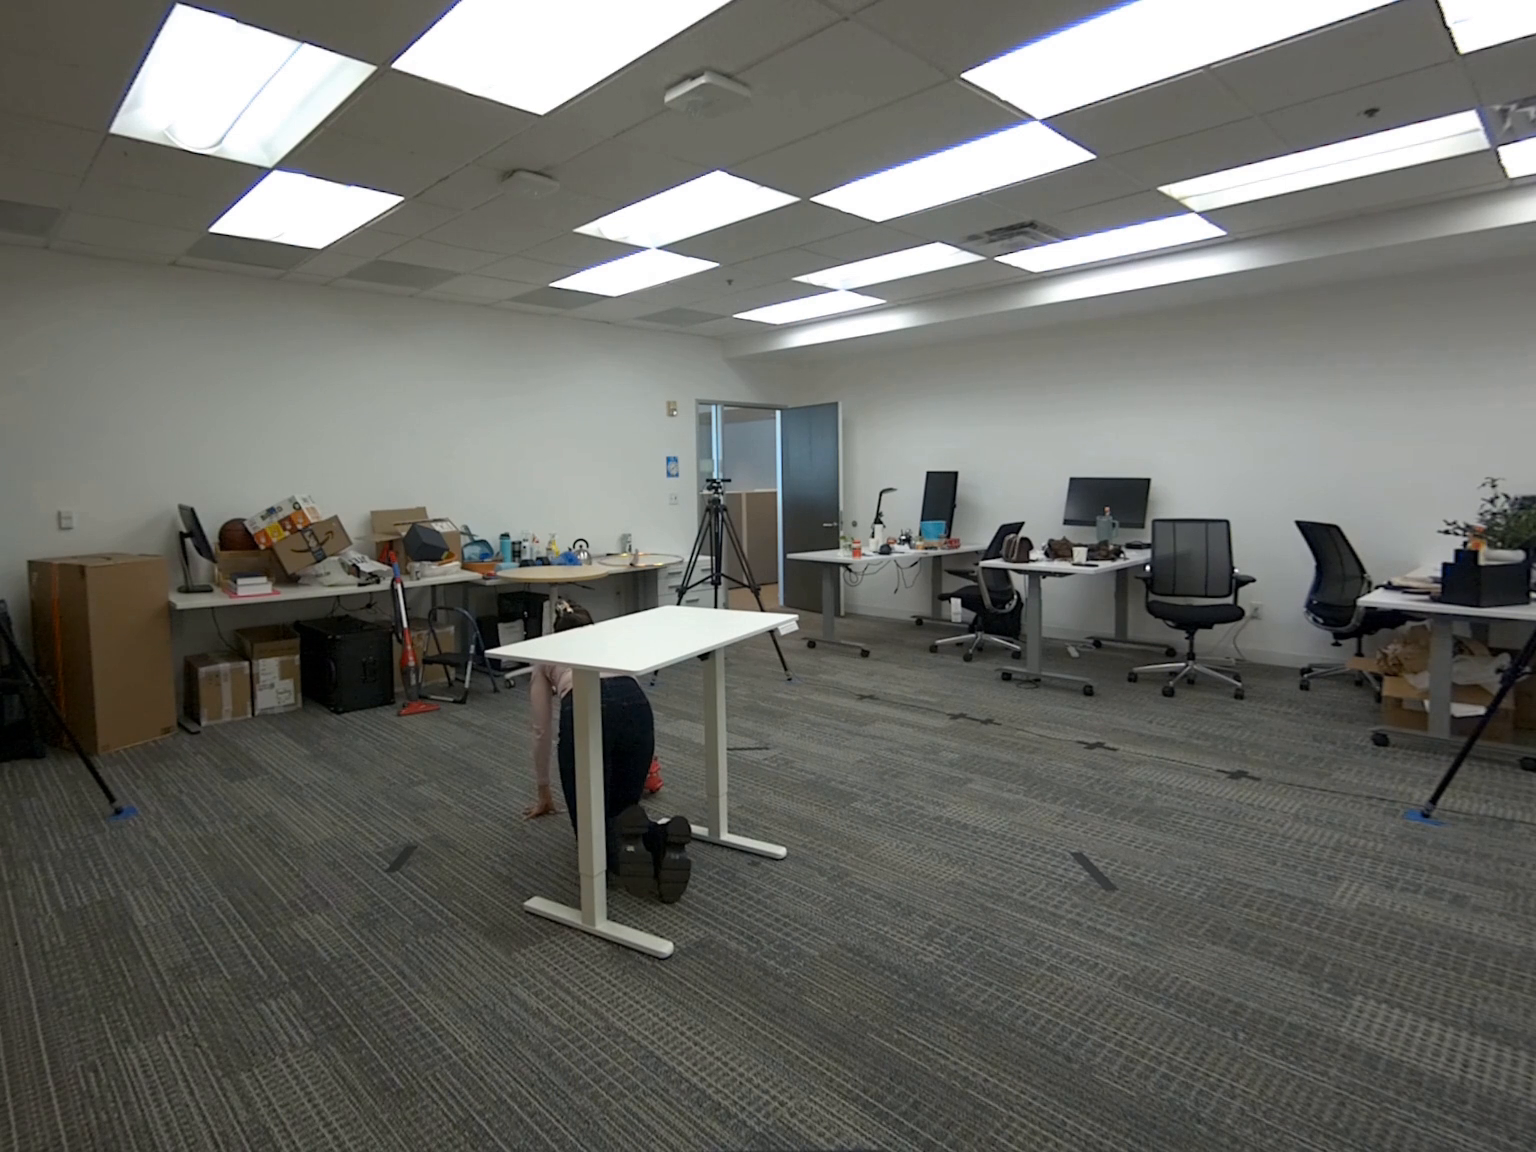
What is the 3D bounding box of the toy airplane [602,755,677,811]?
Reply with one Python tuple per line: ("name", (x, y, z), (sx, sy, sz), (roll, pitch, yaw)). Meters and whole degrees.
("toy airplane", (-0.568, 0.906, 3.796), (0.254, 0.156, 0.256), (0, 3, 13))
